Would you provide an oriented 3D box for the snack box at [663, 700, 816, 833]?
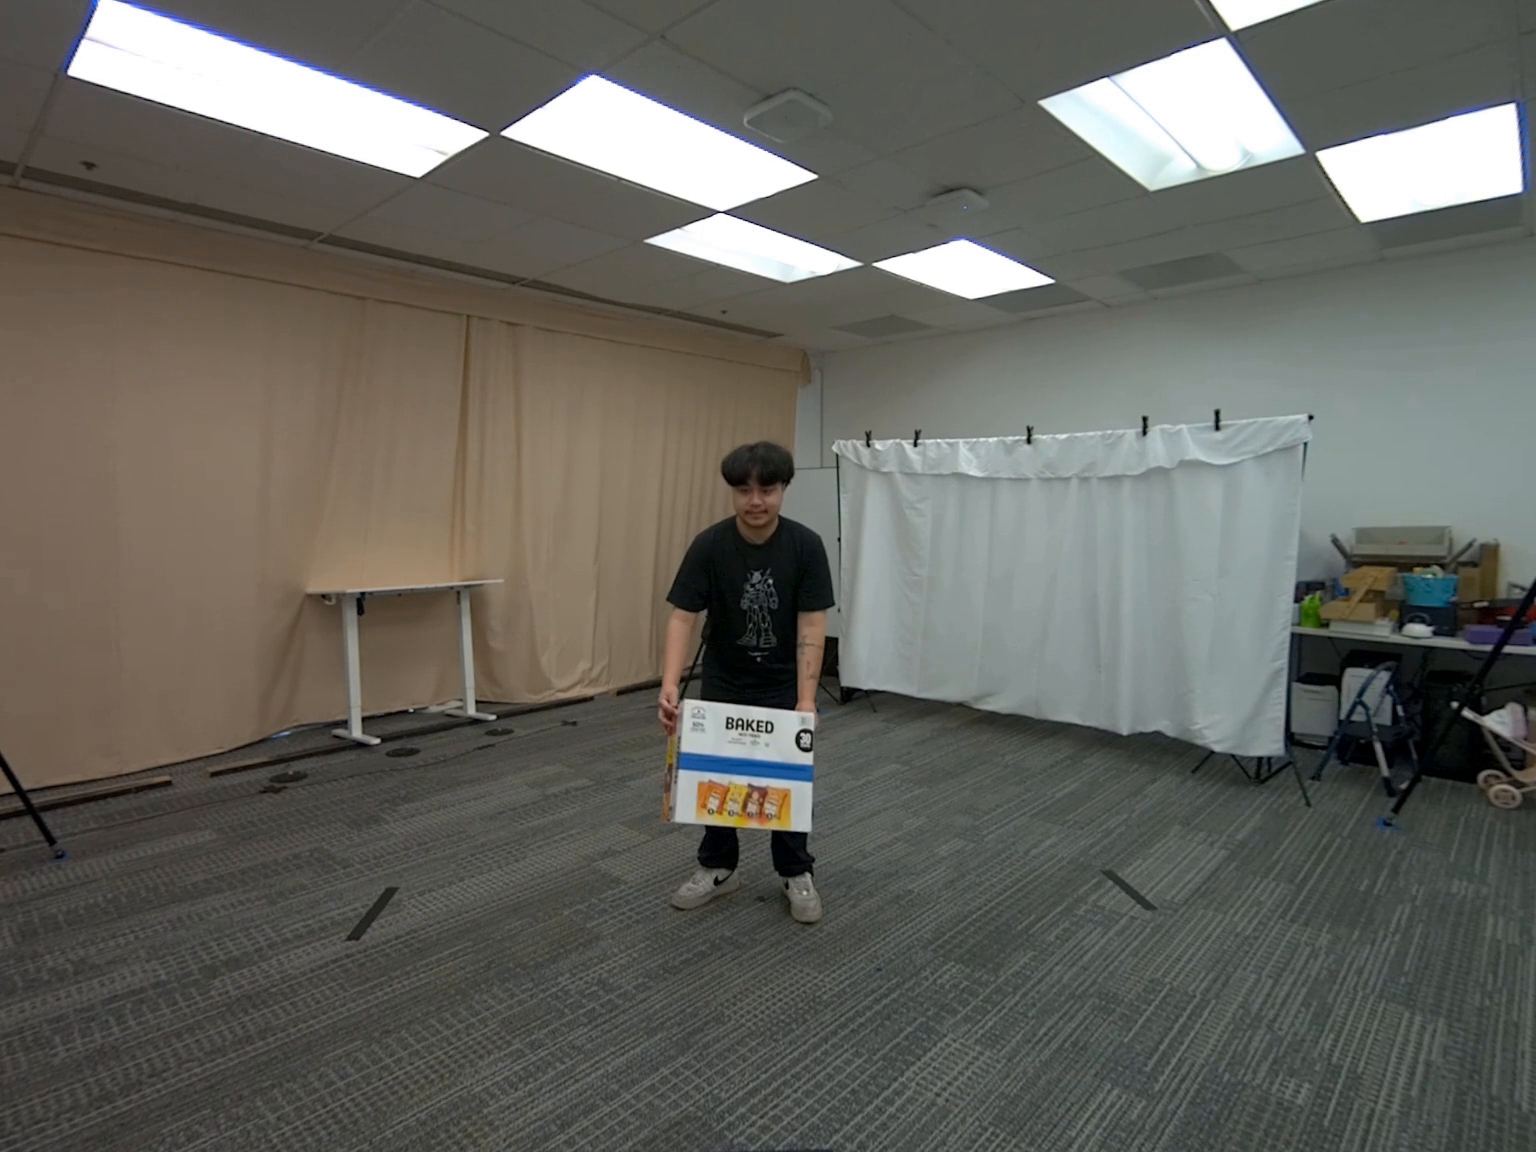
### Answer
[{"bbox_3d":[-0.088,0.576,2.515,0.400,0.344,0.206,8,-19,-12],"label":"snack box"}]
